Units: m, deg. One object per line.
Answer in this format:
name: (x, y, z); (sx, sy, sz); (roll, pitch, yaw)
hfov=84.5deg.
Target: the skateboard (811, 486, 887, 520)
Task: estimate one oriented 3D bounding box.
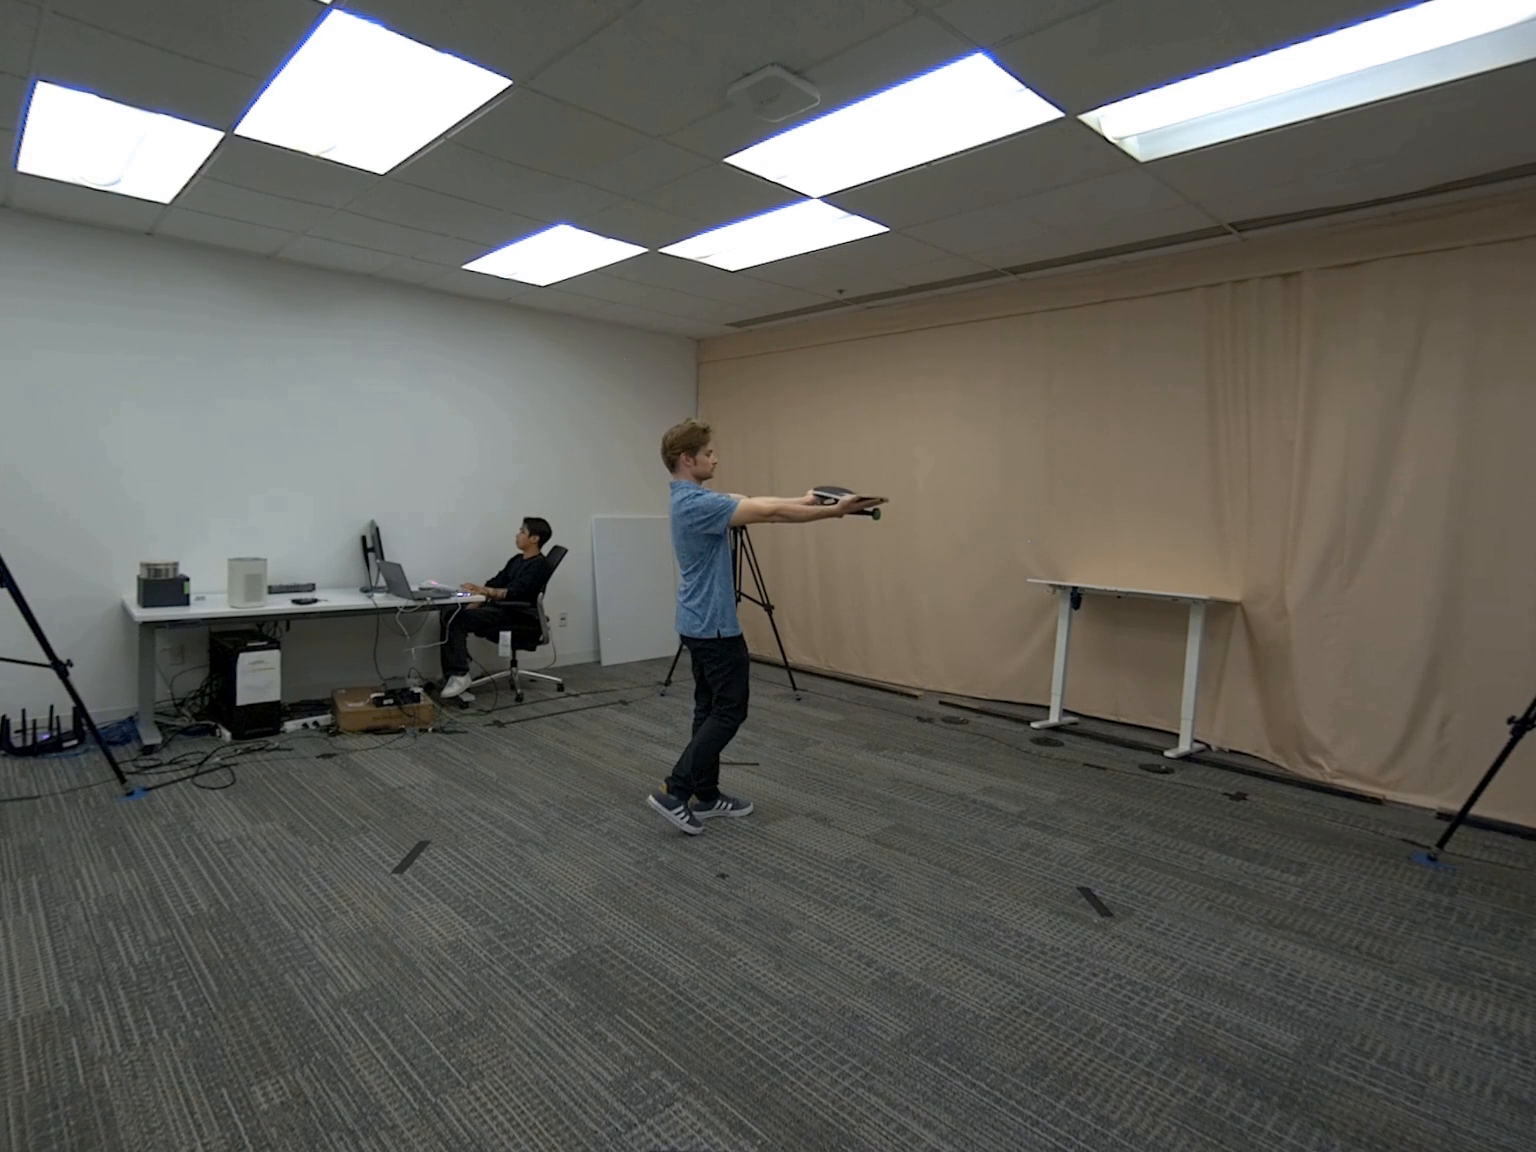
skateboard: (0.322, -0.318, 3.630); (0.192, 0.110, 0.795); (4, 8, -10)
